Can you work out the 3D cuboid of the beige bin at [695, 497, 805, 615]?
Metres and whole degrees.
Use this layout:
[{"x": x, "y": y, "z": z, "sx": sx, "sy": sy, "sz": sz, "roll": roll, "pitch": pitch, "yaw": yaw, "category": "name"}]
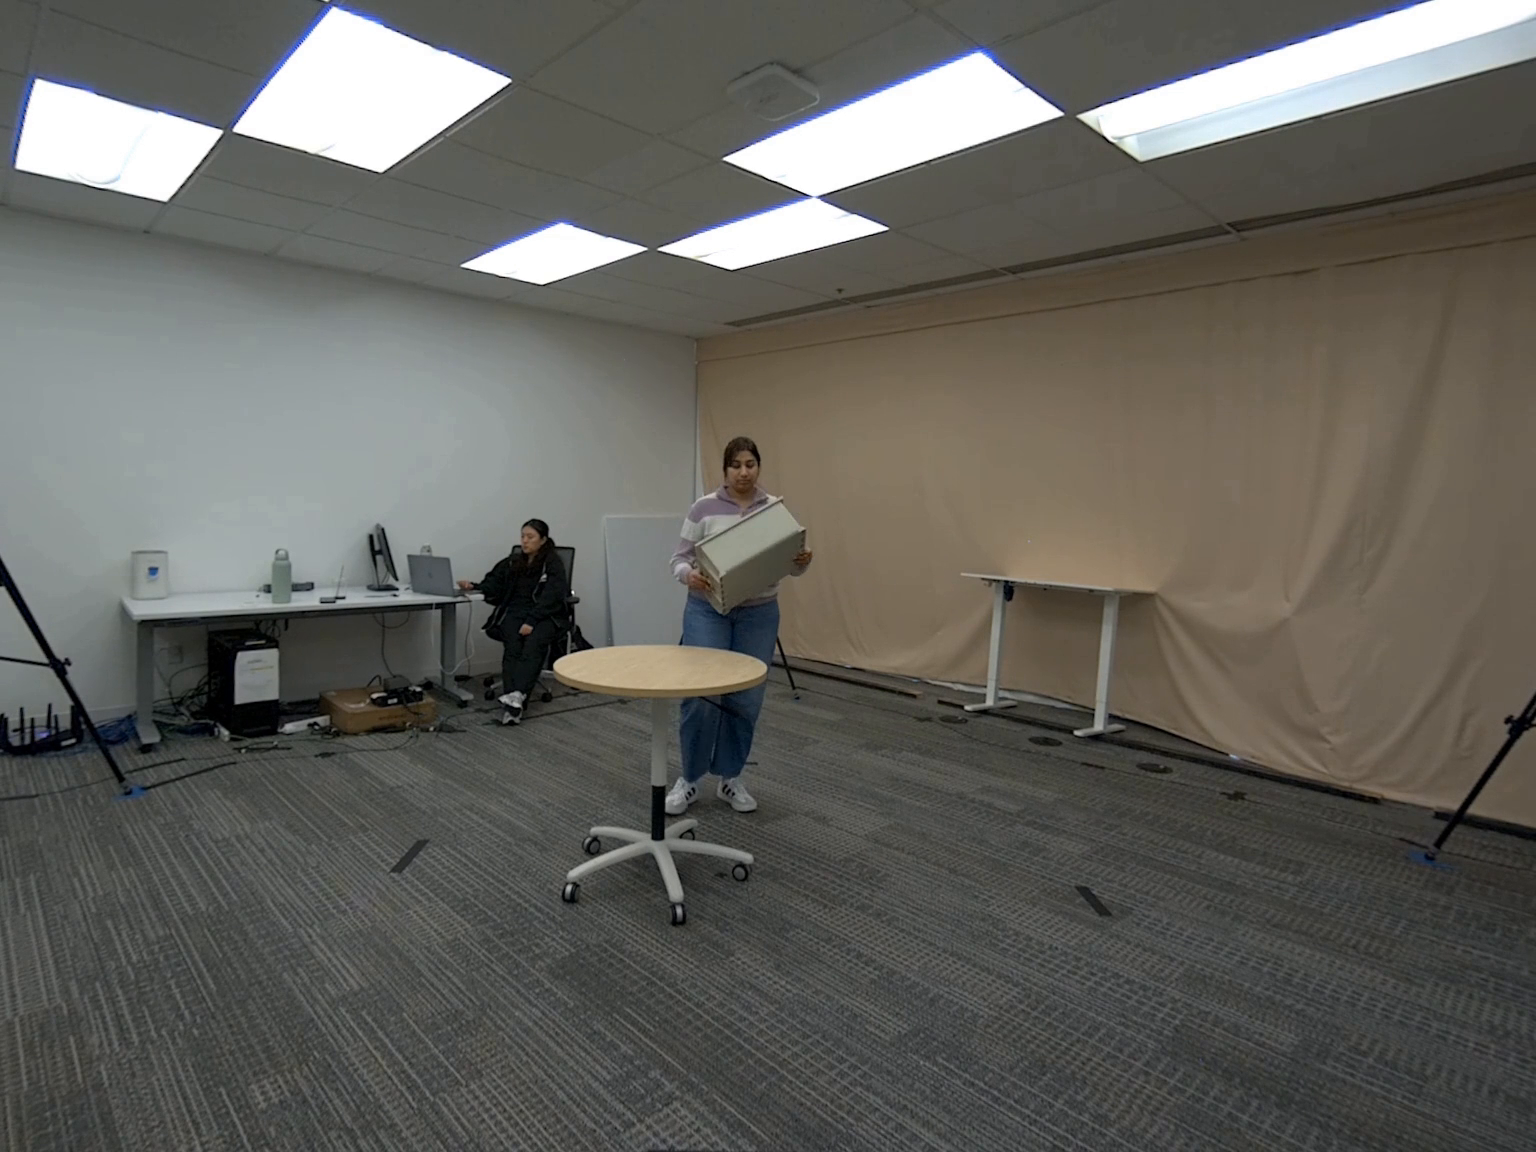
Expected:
[{"x": -0.079, "y": -0.069, "z": 3.502, "sx": 0.420, "sy": 0.194, "sz": 0.370, "roll": -30, "pitch": -26, "yaw": -16, "category": "beige bin"}]
